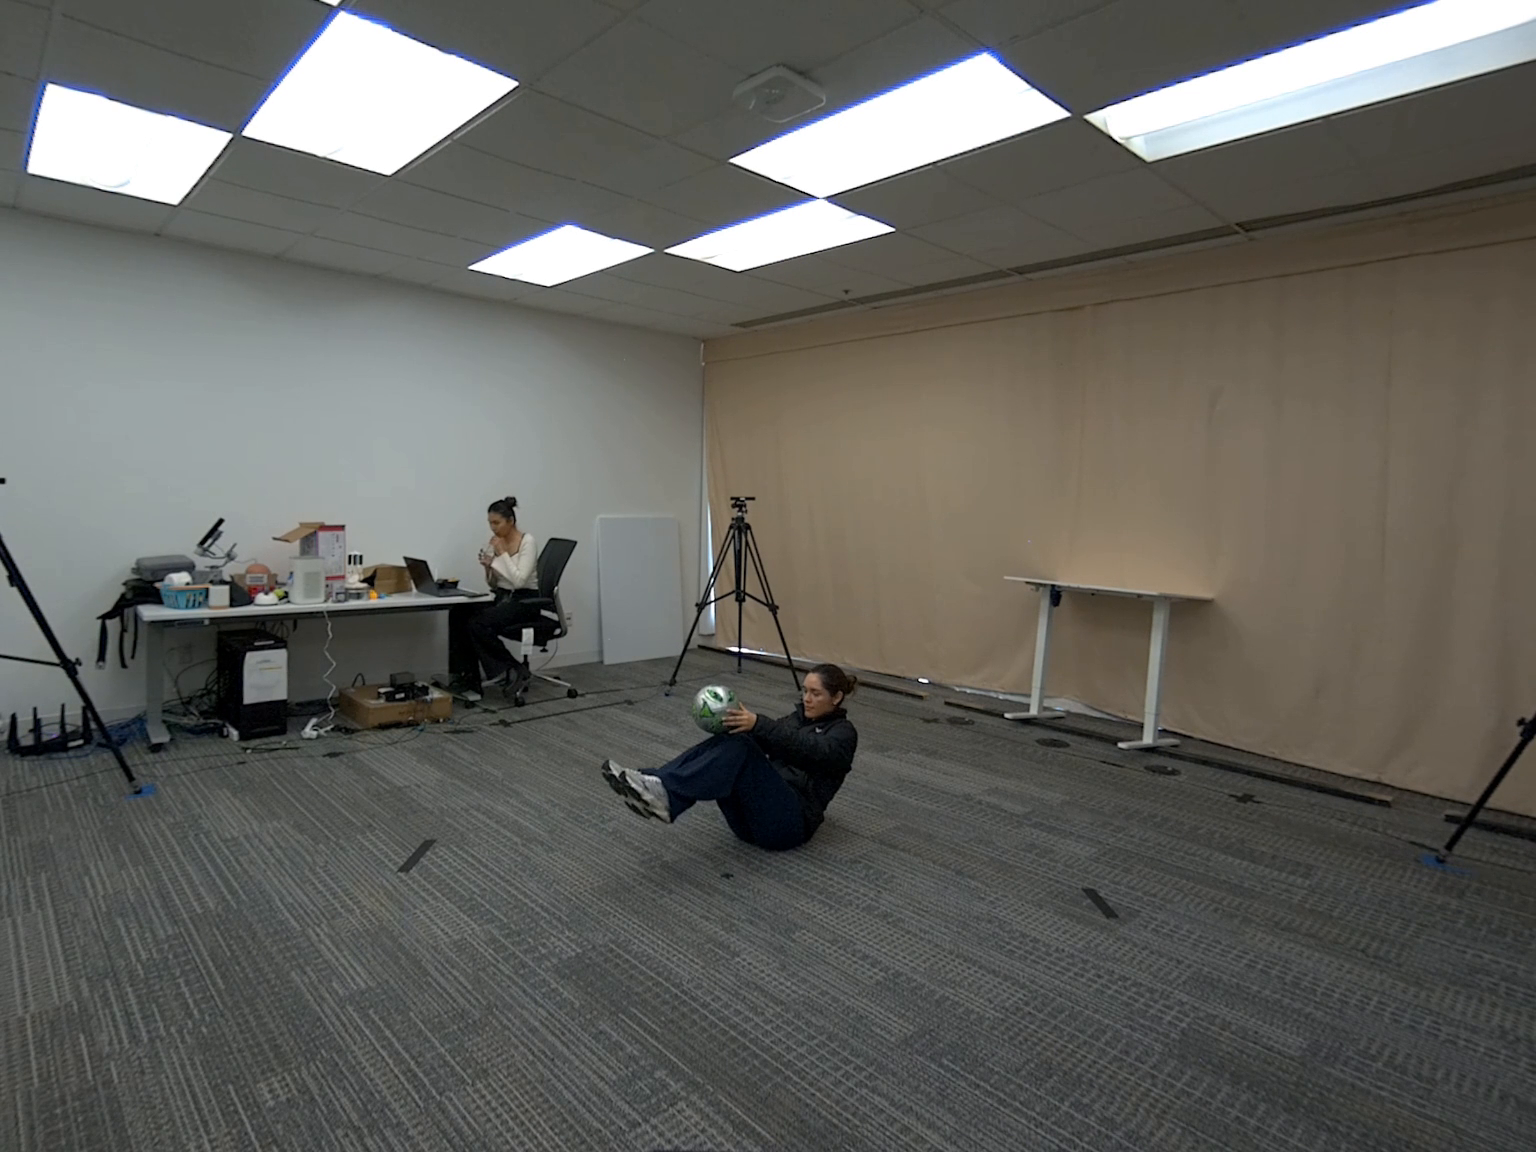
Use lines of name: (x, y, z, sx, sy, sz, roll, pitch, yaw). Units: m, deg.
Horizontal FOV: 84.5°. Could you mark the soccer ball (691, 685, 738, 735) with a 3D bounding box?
soccer ball: (-0.210, 0.517, 3.262, 0.187, 0.186, 0.188, 0, 7, -1)
